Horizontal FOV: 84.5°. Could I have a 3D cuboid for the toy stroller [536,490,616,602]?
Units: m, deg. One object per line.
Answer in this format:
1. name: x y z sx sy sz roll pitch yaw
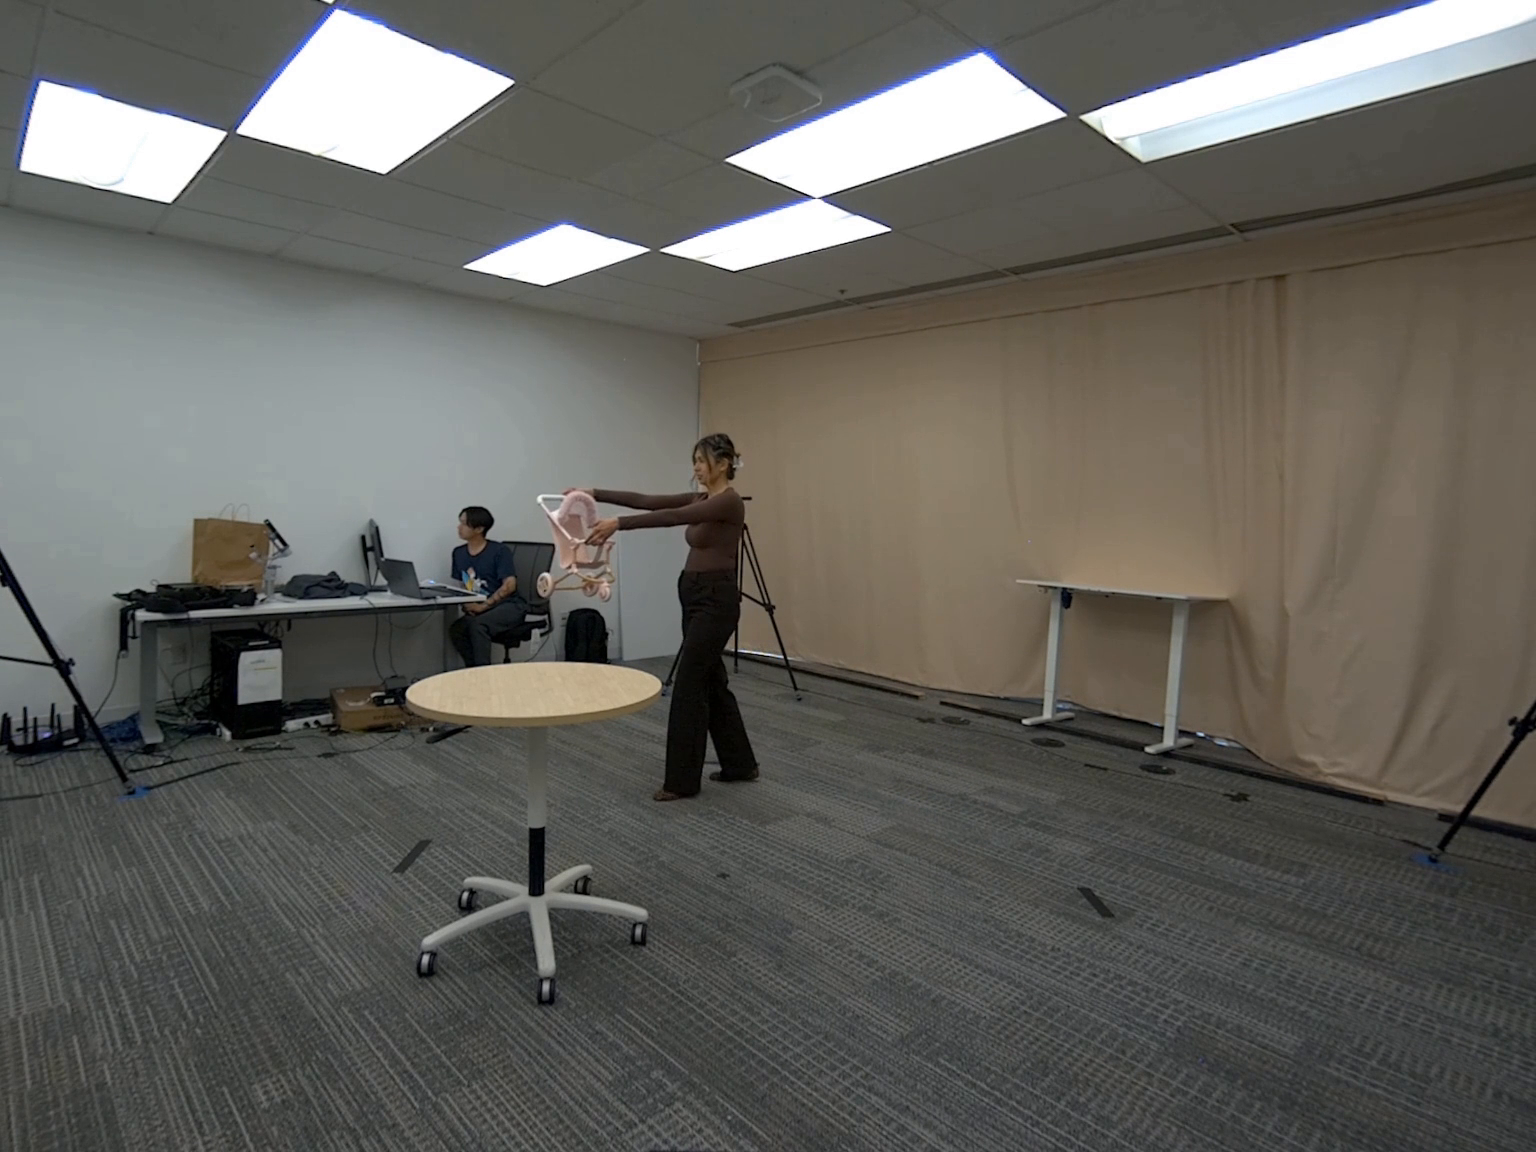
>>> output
1. toy stroller: -0.833 -0.135 3.710 0.347 0.539 0.274 -14 -11 42
